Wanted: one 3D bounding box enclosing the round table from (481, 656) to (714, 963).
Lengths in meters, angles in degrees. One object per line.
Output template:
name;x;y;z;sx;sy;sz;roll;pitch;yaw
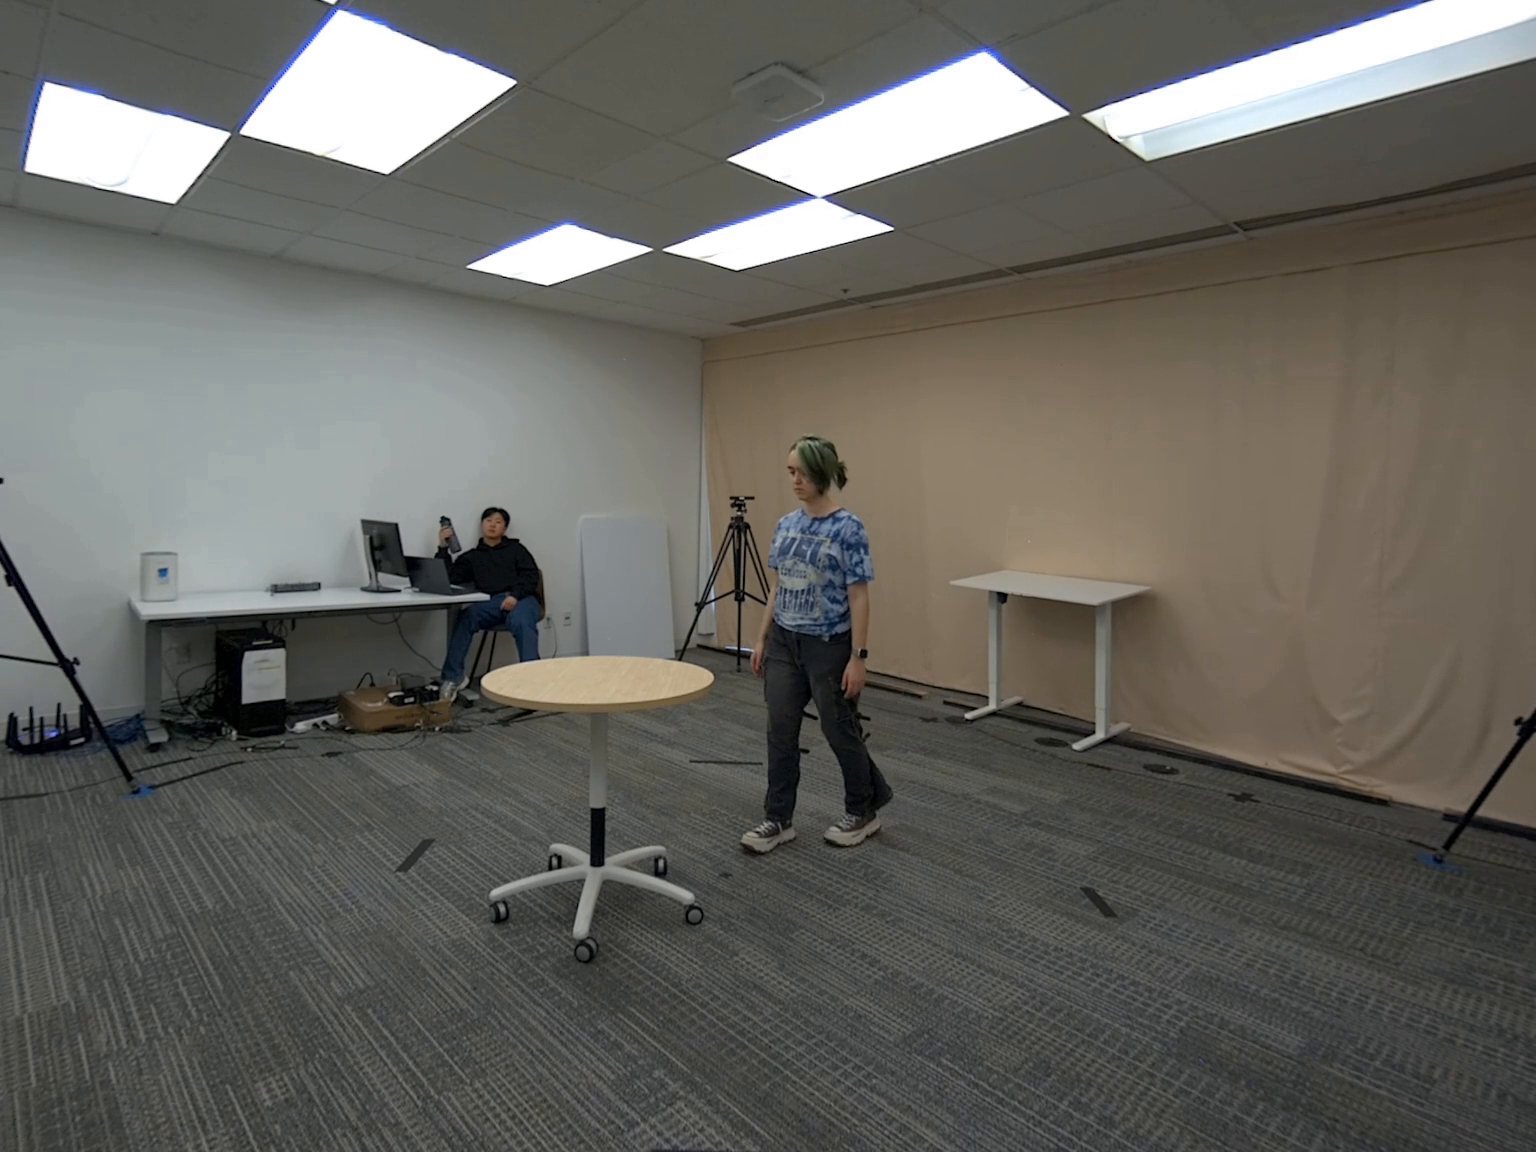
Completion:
round table;-0.579;0.732;2.832;0.763;0.792;0.766;1;4;-1
